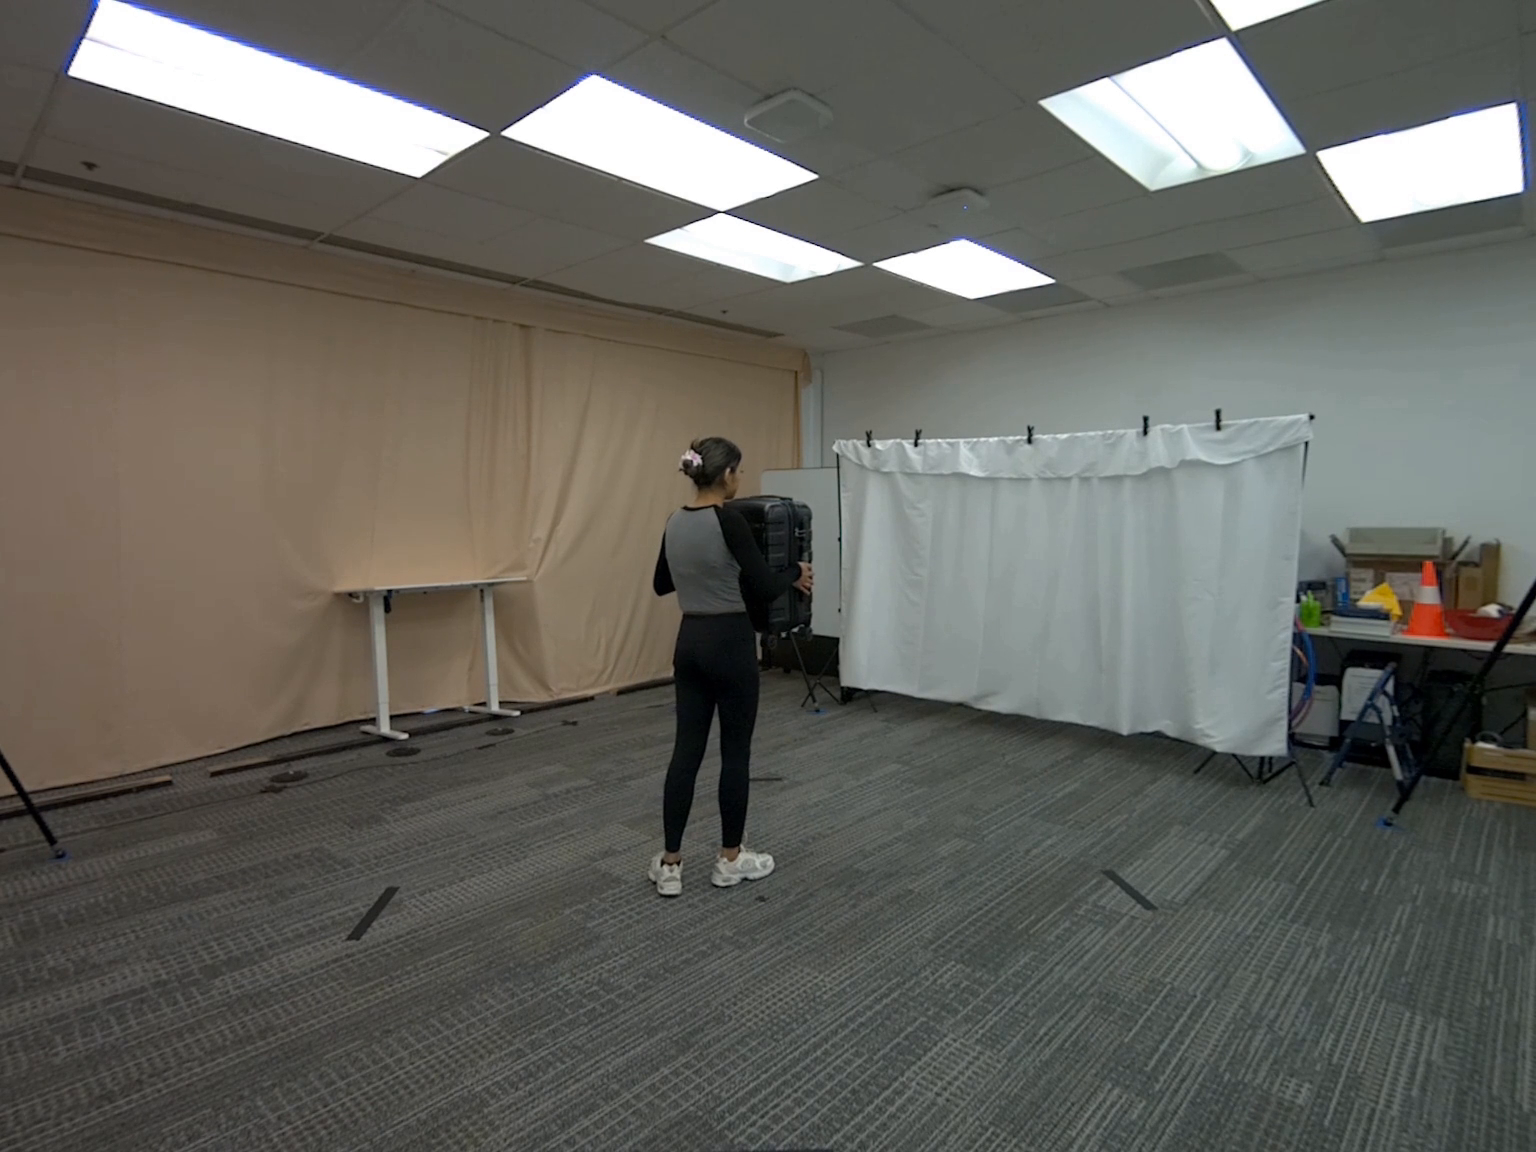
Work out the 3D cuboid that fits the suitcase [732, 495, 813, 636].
[{"bbox_3d":[-0.013,-0.036,3.286,0.241,0.547,0.388,-6,10,-45],"label":"suitcase"}]
